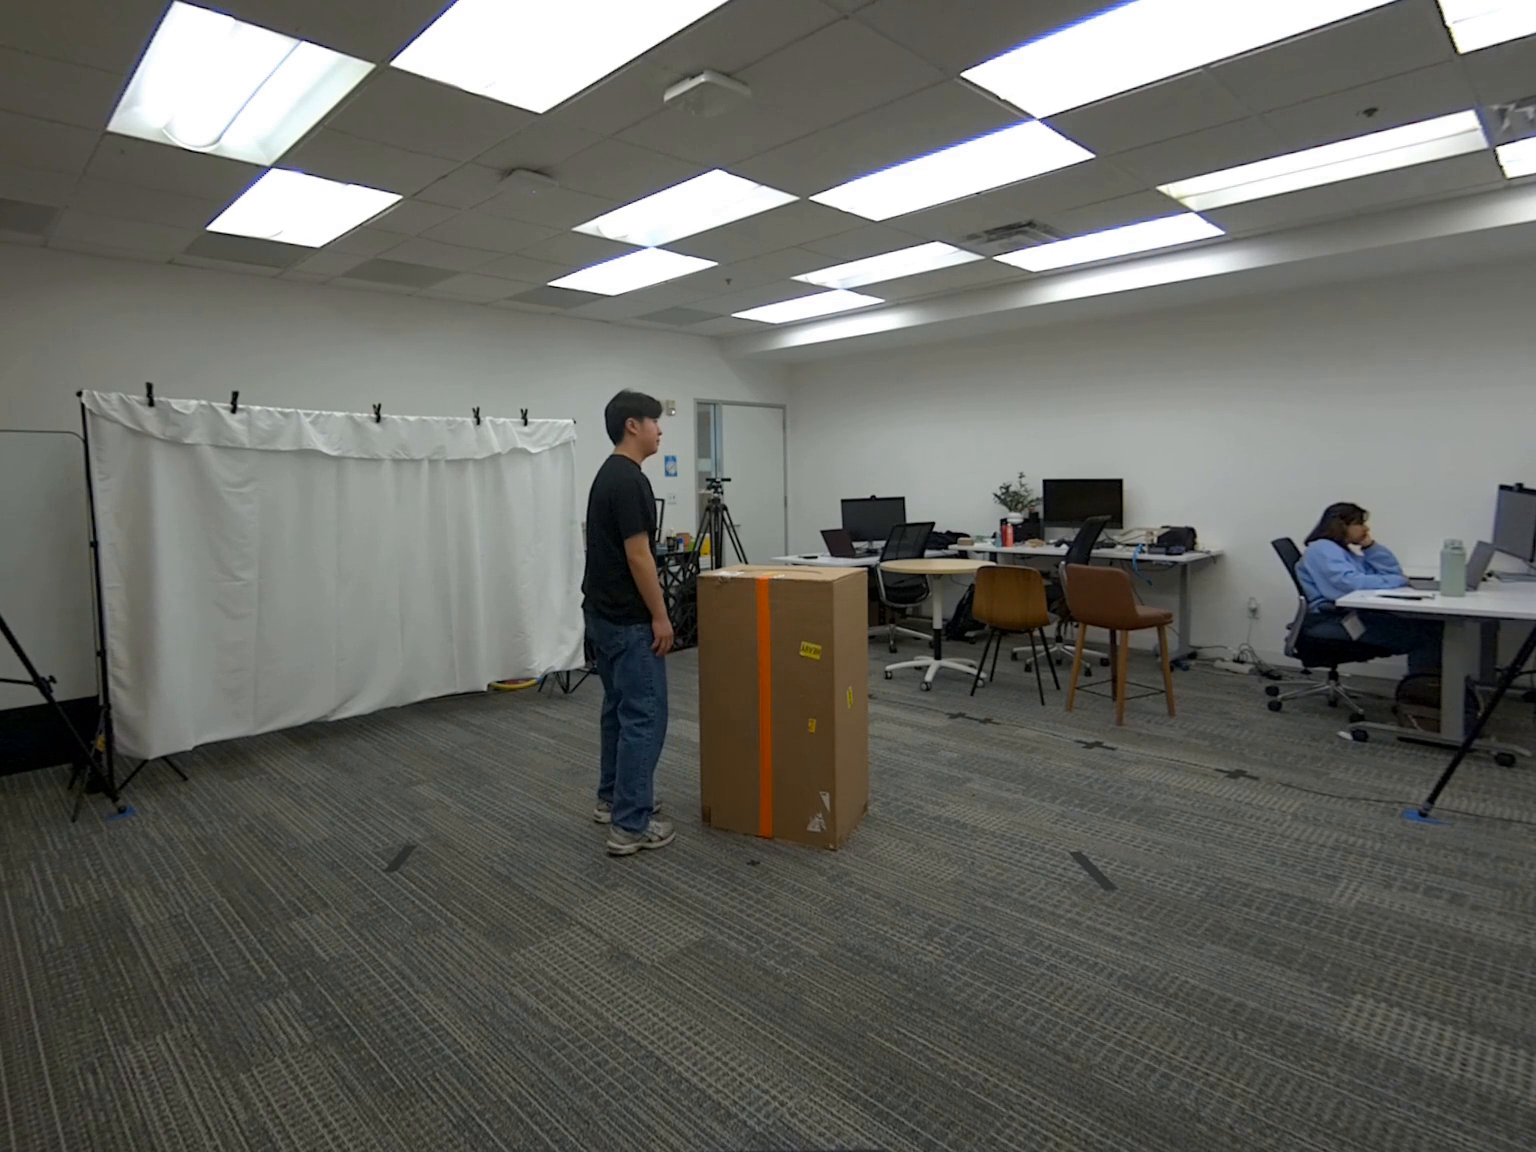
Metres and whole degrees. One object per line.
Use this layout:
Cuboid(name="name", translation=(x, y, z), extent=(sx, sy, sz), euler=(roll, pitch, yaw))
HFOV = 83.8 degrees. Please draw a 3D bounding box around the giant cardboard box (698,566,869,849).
Cuboid(name="giant cardboard box", translation=(0.071, 0.485, 3.467), extent=(0.598, 1.022, 0.438), euler=(2, 6, 27))
